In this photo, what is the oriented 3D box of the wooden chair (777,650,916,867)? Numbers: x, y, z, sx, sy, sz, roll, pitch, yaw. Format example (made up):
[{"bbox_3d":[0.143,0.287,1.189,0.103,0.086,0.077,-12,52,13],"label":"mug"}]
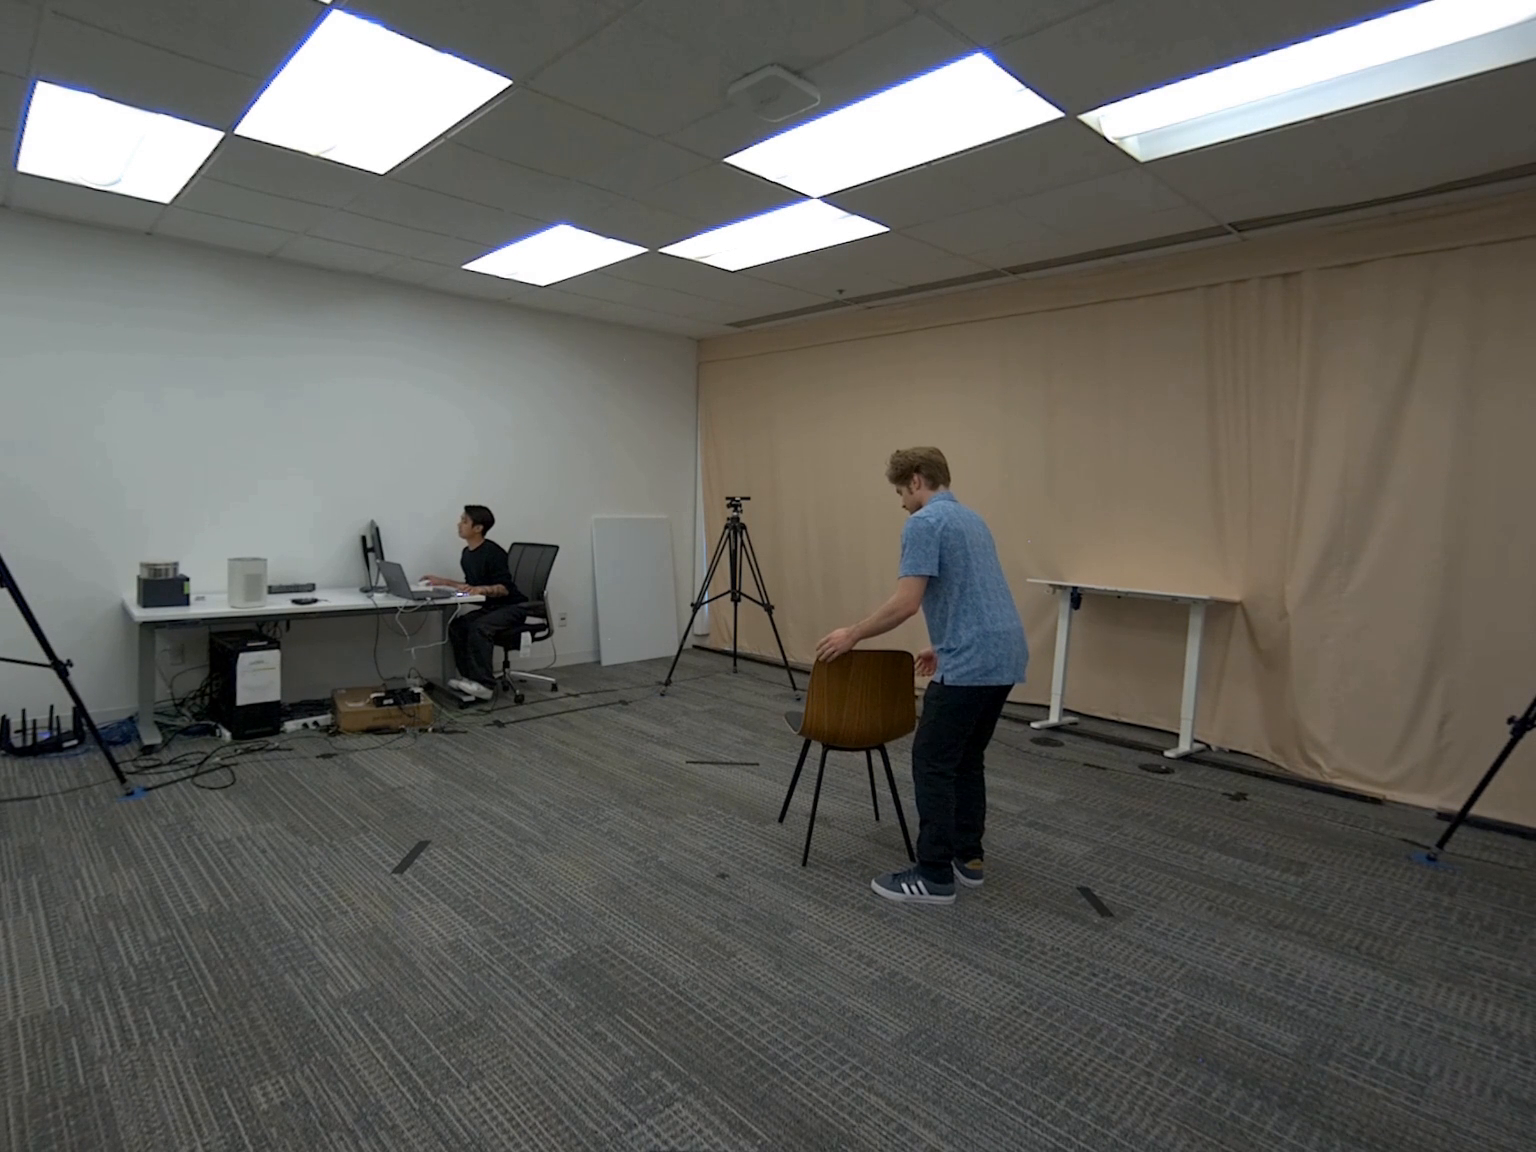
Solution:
[{"bbox_3d":[0.304,0.660,3.433,0.474,0.873,0.530,0,7,-11],"label":"wooden chair"}]
